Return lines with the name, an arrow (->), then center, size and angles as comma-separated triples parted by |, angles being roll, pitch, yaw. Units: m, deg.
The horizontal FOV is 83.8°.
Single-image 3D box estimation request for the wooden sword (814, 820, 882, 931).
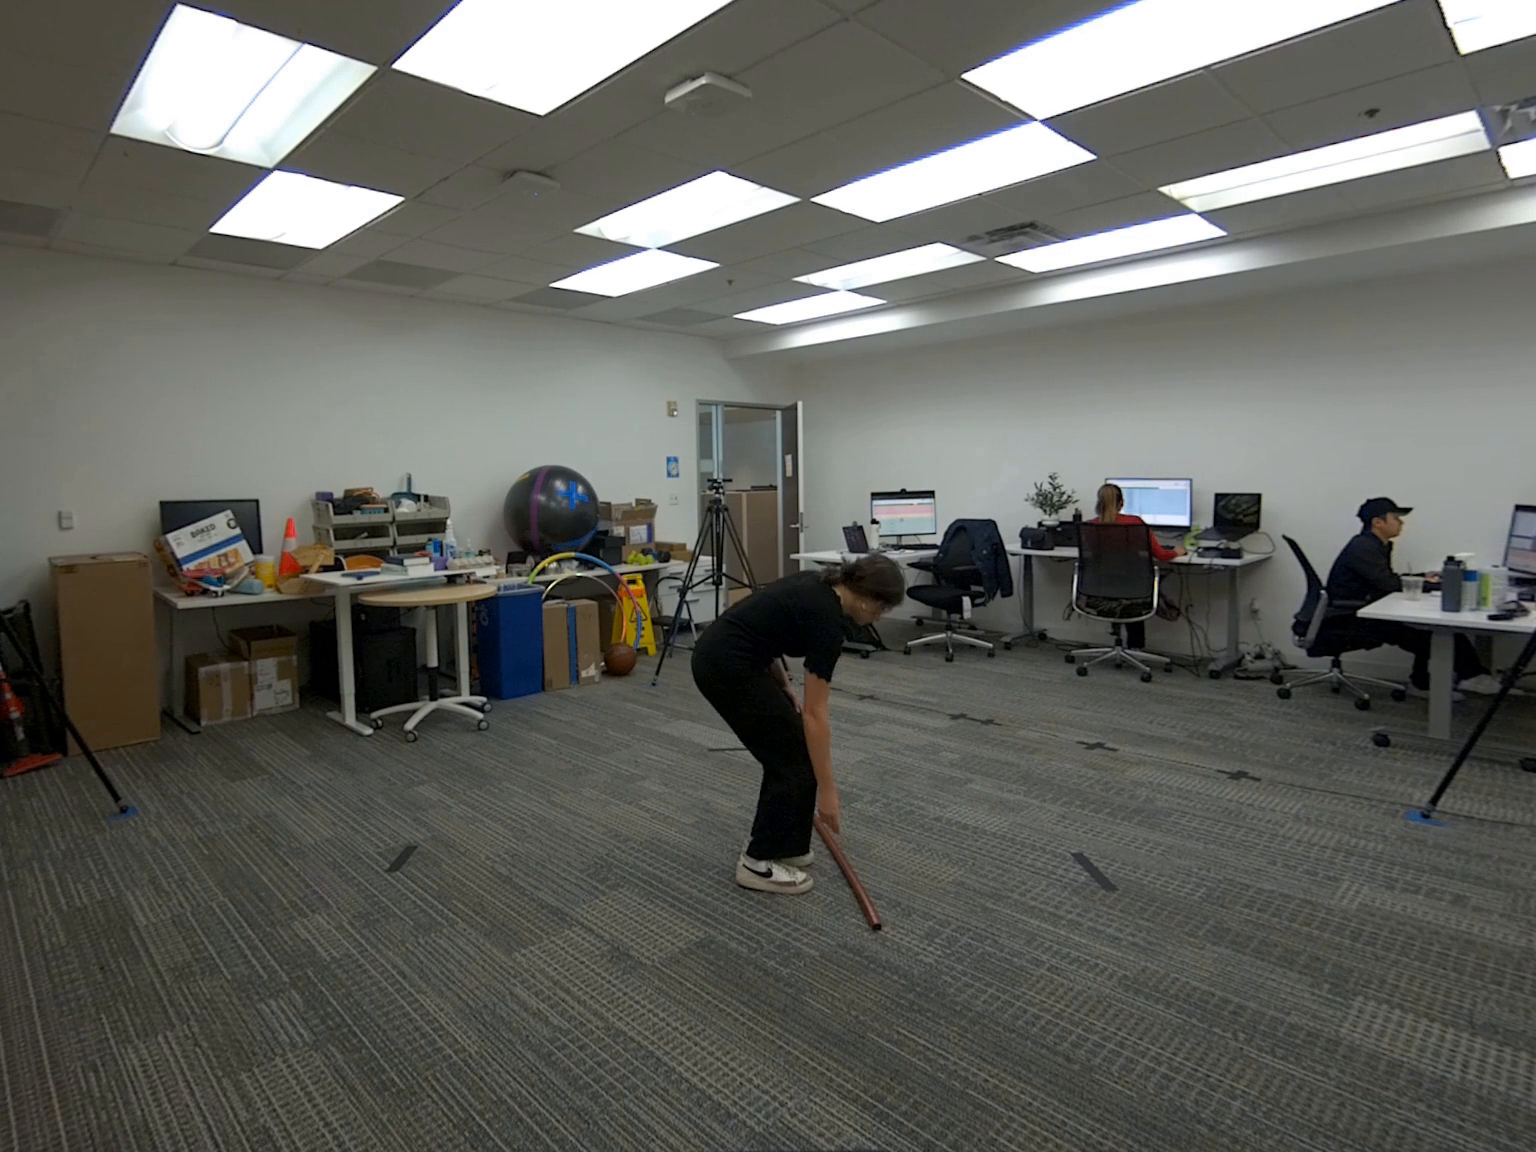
wooden sword -> 0.242, 1.007, 3.140 | 0.050, 0.024, 1.039 | 27, 2, -12
